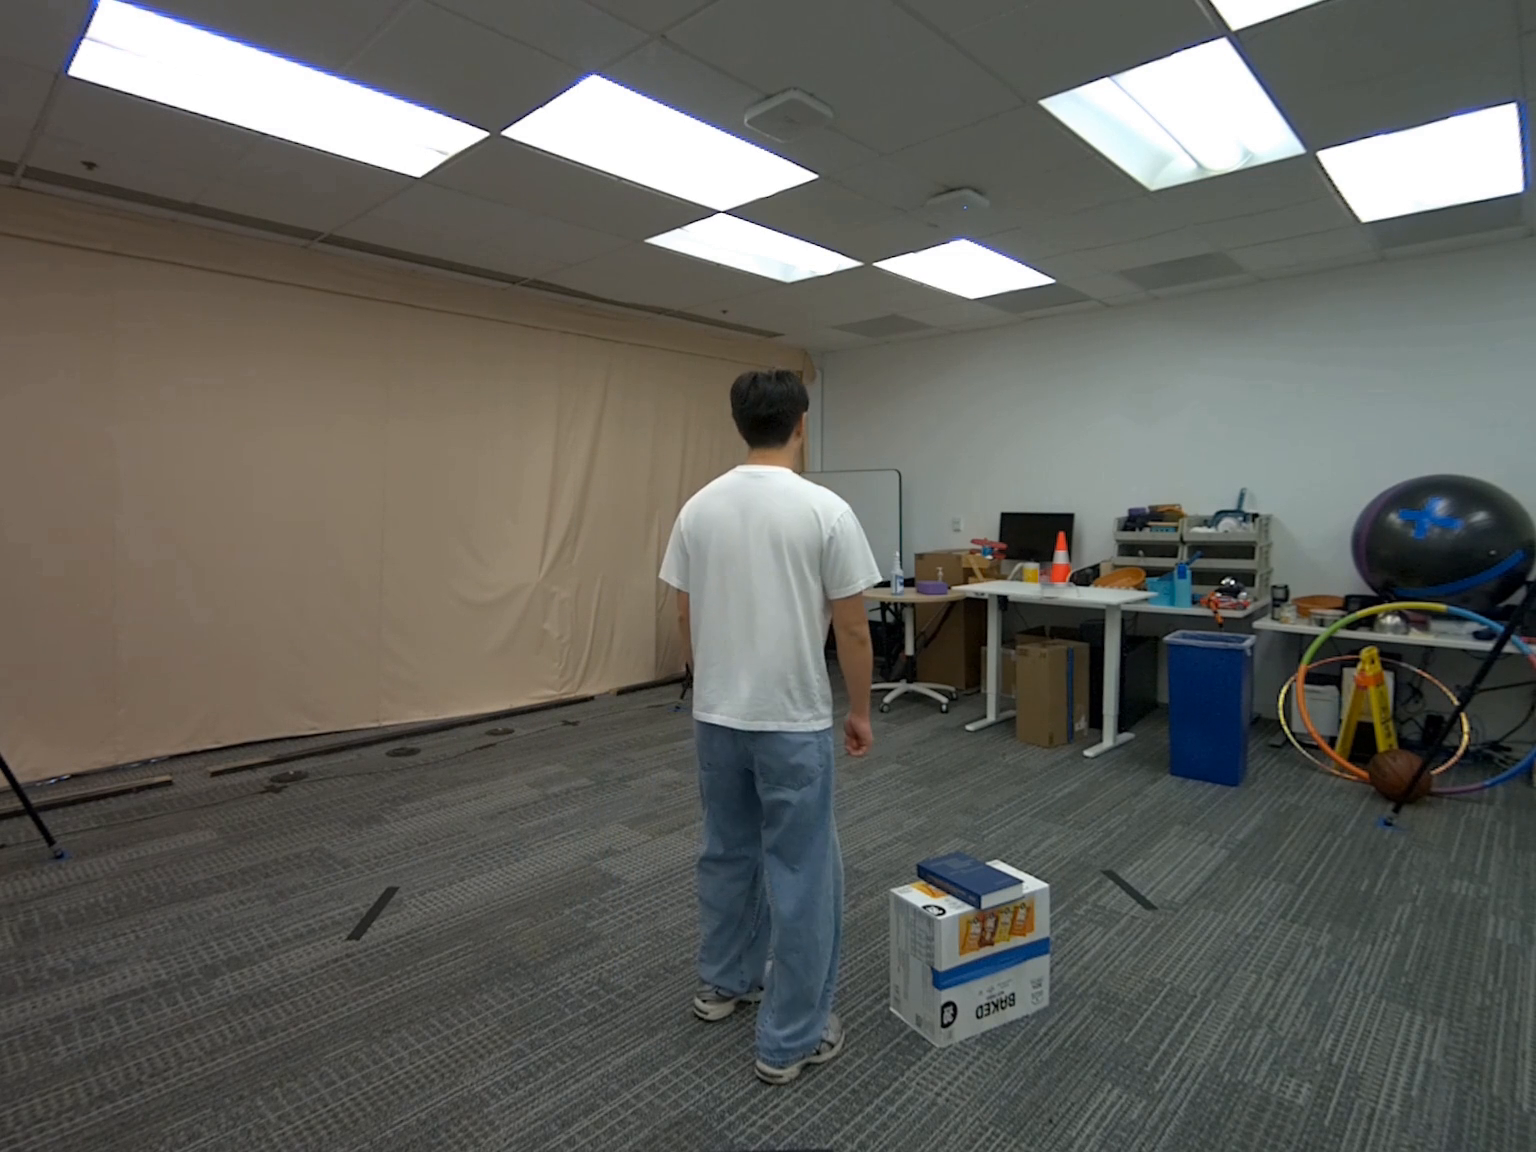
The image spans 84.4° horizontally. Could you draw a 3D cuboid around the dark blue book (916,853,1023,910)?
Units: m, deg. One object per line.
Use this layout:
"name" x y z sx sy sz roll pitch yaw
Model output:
"dark blue book" 0.569 0.844 2.311 0.159 0.045 0.252 -3 4 -30
